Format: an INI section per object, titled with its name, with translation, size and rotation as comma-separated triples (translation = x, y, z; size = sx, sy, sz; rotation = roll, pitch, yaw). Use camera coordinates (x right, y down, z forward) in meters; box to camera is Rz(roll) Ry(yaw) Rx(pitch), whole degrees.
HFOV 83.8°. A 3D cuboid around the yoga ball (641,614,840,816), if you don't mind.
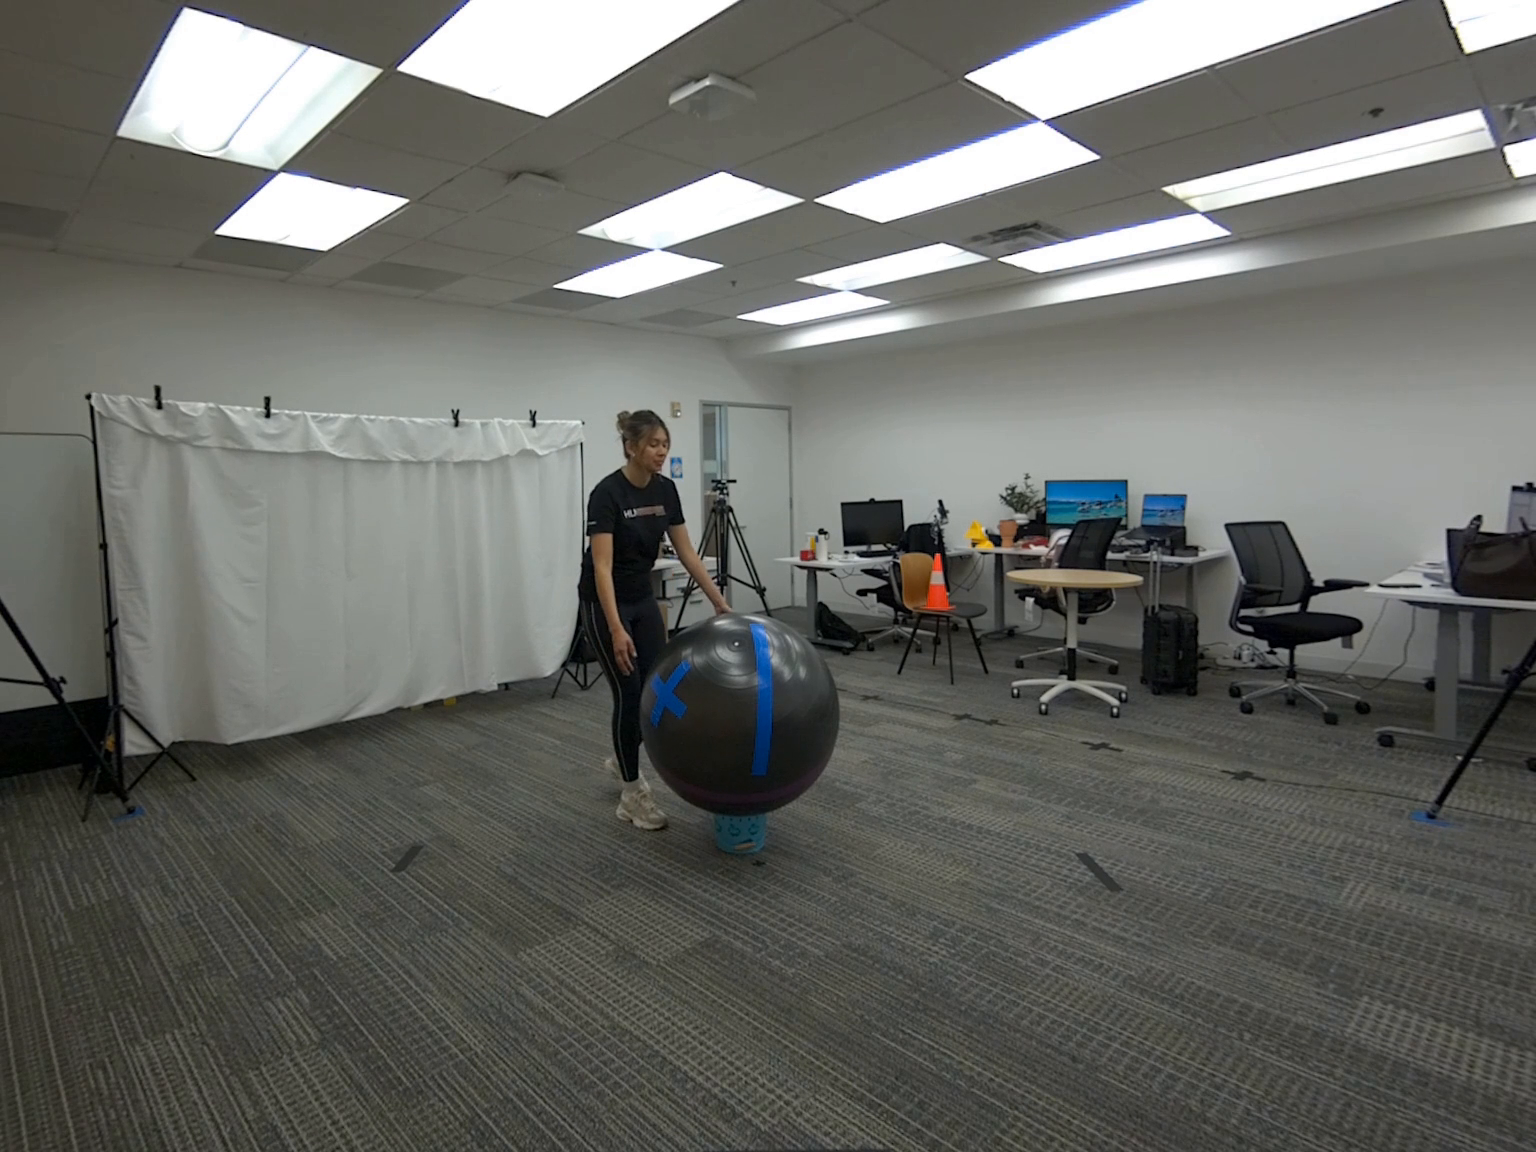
[yoga ball]
translation = -0.112, 0.525, 3.247
size = 0.757, 0.755, 0.762
rotation = -1, 5, -2
